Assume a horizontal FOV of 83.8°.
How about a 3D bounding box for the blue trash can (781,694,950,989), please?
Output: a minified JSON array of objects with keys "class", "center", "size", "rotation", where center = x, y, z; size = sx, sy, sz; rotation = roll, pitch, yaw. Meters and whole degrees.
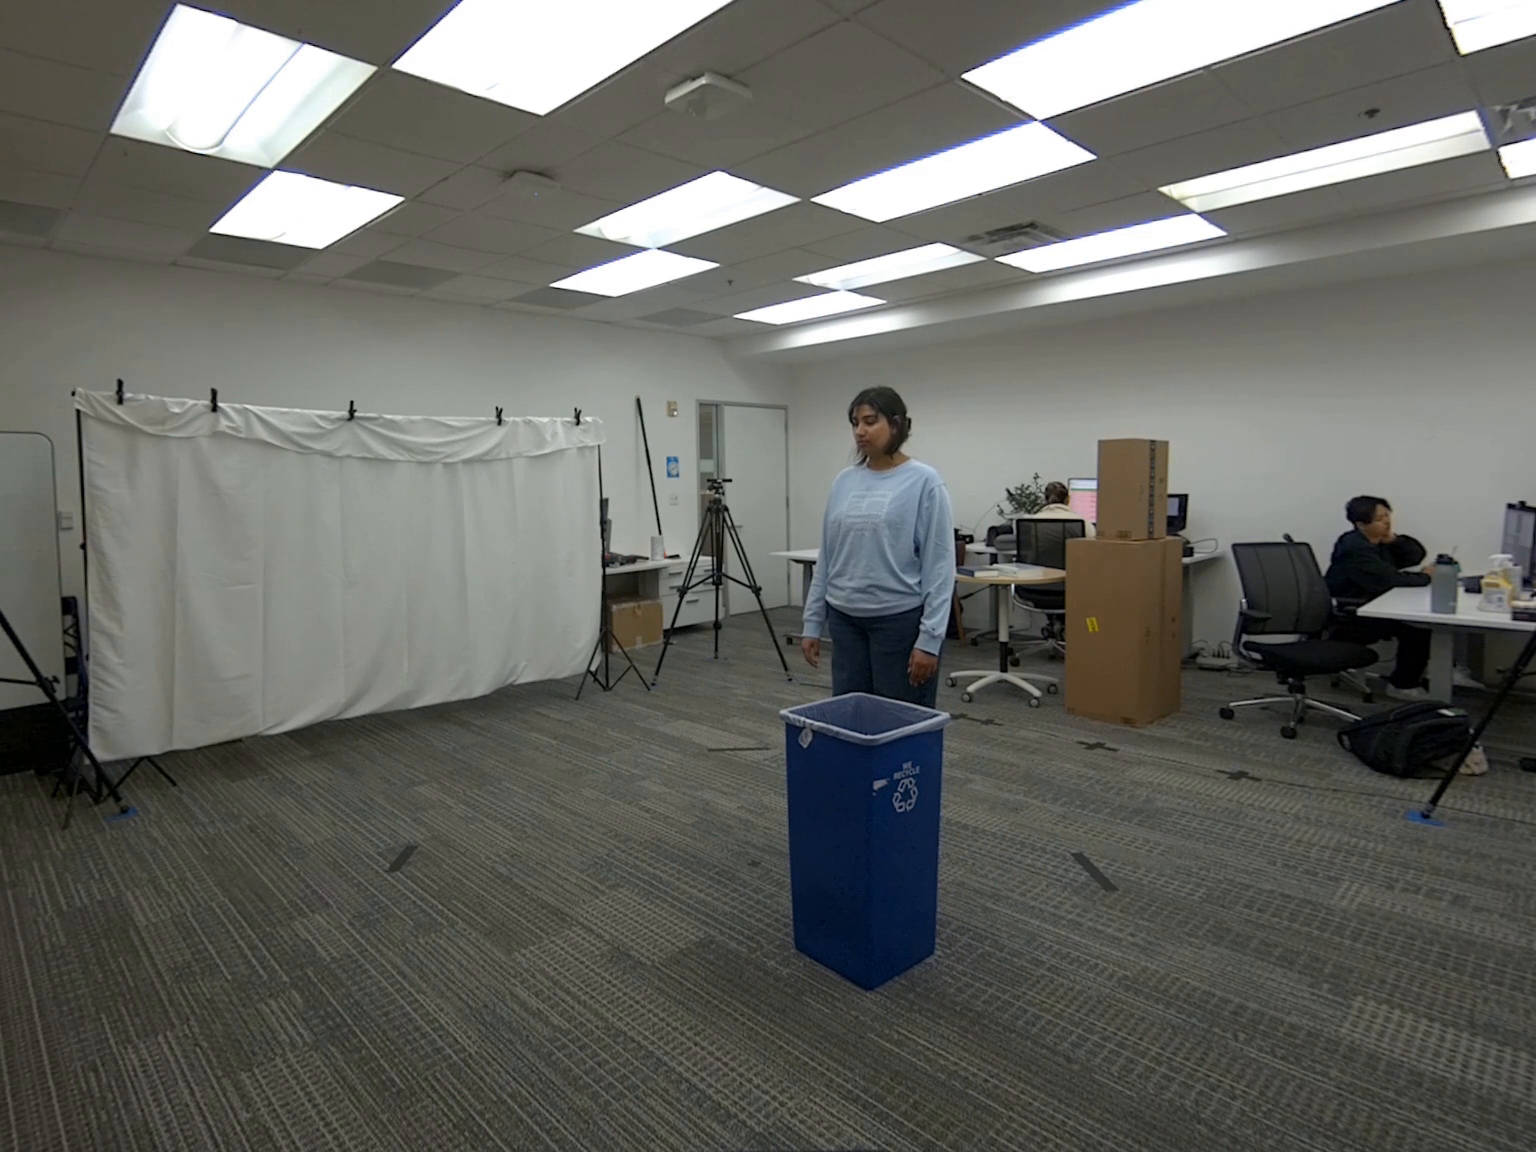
[{"class":"blue trash can","center":[0.289,0.751,2.515],"size":[0.364,0.711,0.390],"rotation":[-4,6,-42]}]
